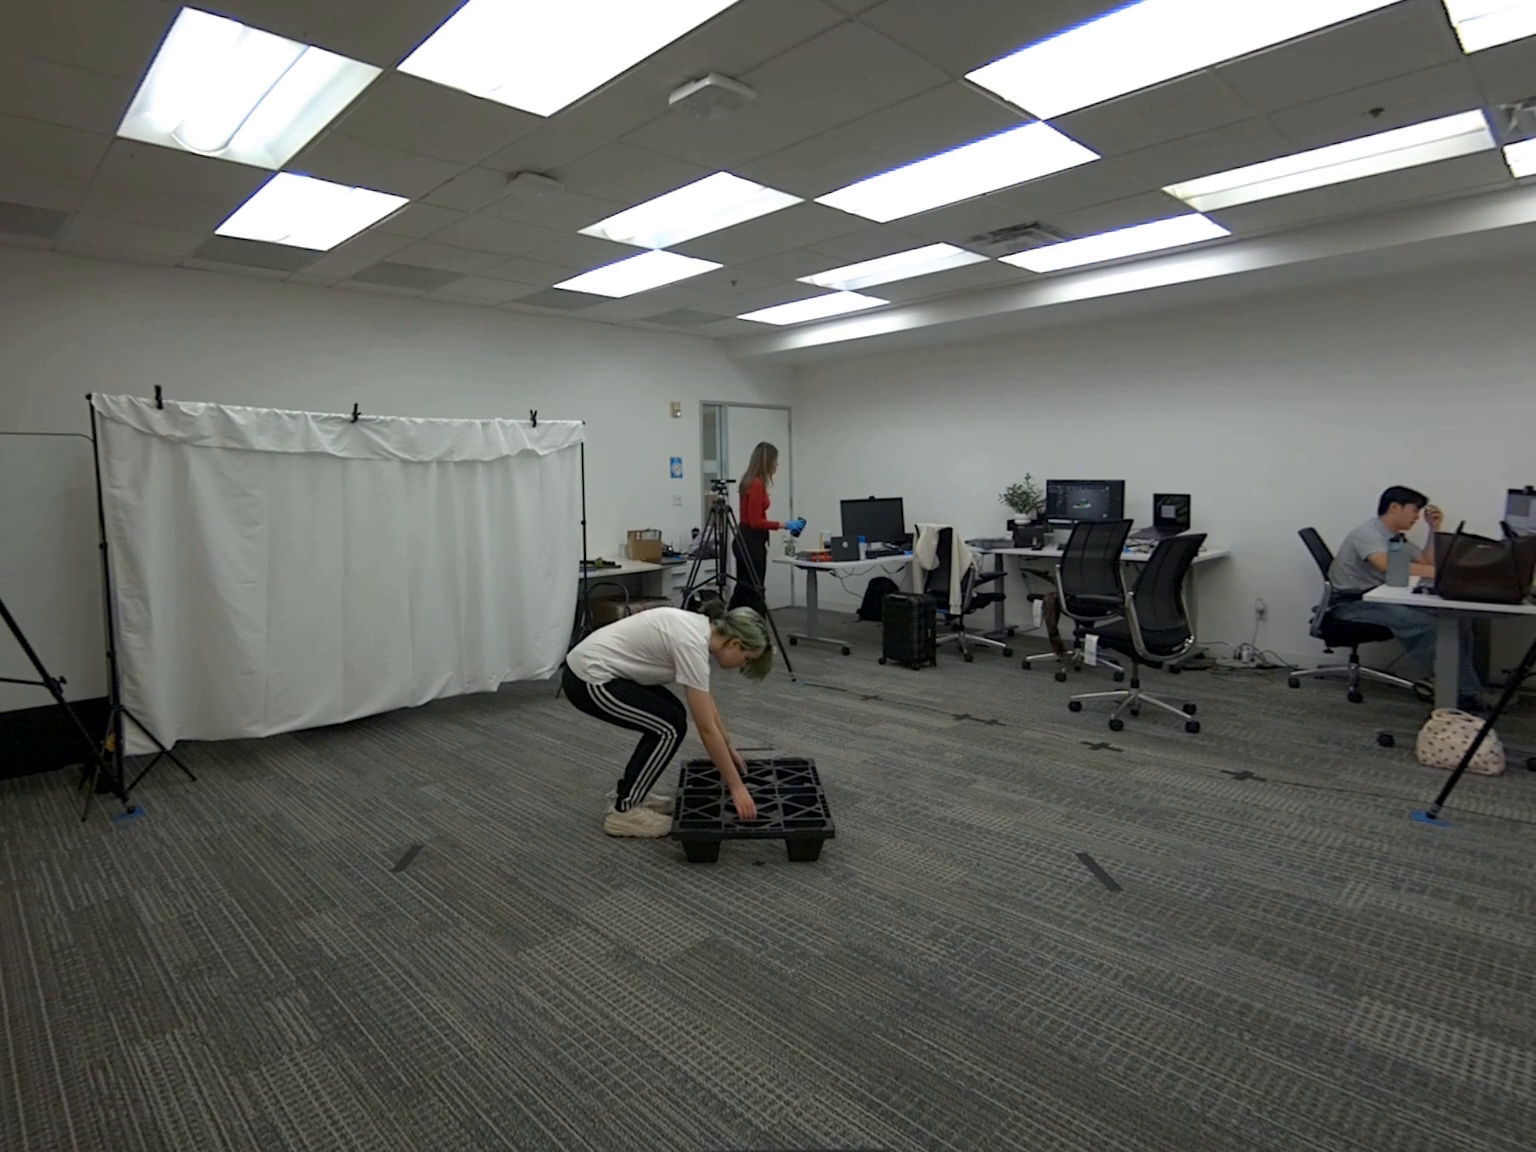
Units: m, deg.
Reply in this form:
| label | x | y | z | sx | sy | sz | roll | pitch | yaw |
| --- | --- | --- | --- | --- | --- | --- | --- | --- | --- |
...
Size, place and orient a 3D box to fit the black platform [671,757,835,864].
| label | x | y | z | sx | sy | sz | roll | pitch | yaw |
| --- | --- | --- | --- | --- | --- | --- | --- | --- | --- |
| black platform | -0.075 | 0.934 | 3.474 | 0.605 | 0.143 | 0.809 | -2 | 6 | -1 |
